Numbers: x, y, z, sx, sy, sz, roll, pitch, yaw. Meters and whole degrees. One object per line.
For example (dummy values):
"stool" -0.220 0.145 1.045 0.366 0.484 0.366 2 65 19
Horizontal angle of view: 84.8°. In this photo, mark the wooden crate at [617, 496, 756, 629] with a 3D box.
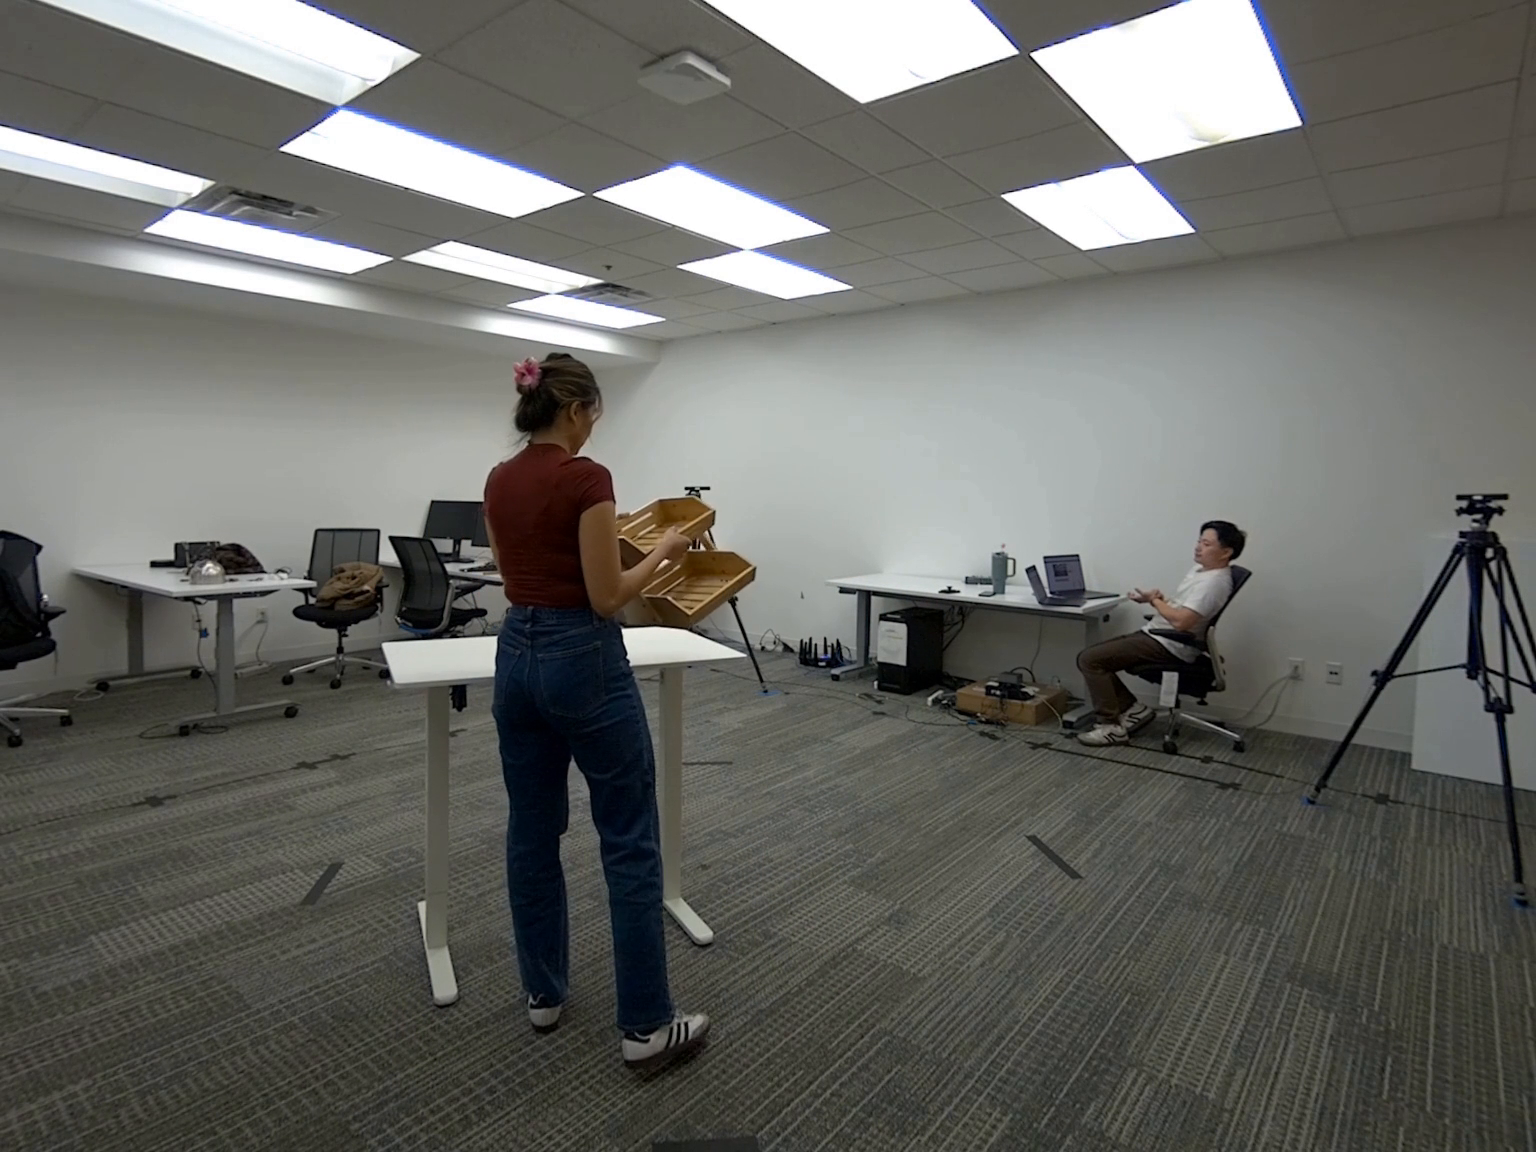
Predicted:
"wooden crate" -0.260 -0.050 2.346 0.311 0.268 0.321 0 25 40
